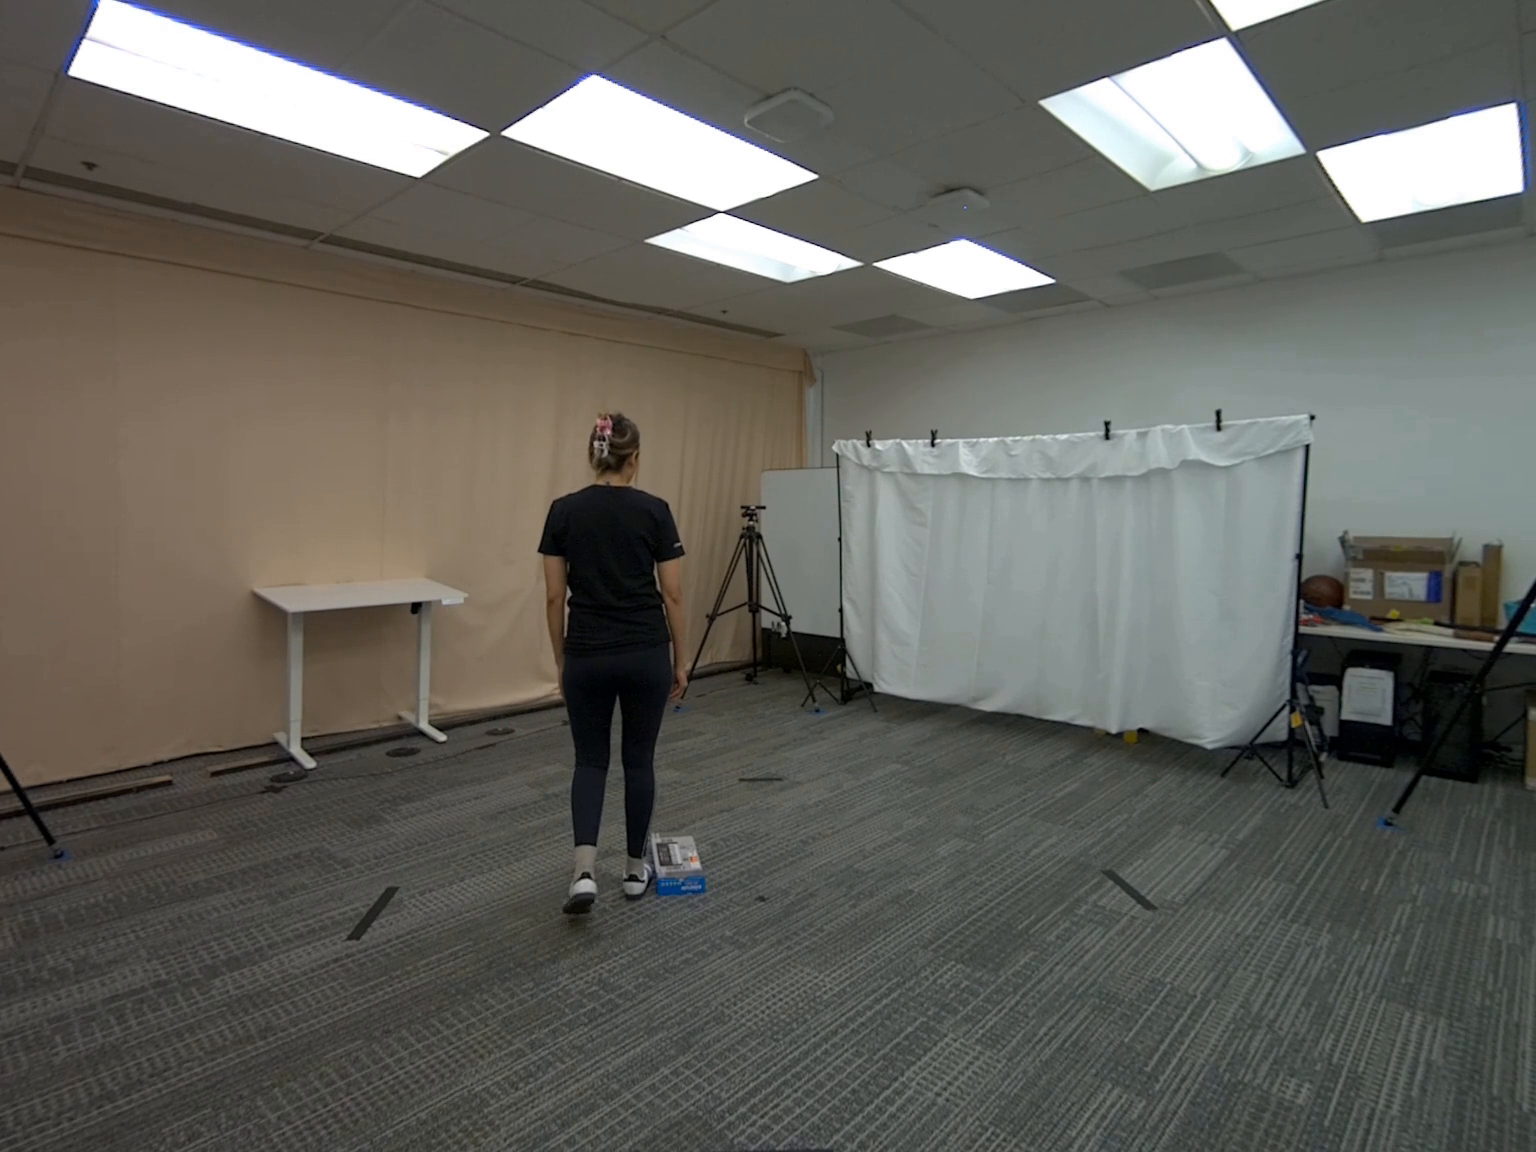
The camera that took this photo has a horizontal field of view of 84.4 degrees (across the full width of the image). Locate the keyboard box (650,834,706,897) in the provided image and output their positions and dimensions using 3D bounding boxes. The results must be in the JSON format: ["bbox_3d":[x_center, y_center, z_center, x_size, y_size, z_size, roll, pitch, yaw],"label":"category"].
[{"bbox_3d":[-0.349,1.096,3.237,0.174,0.059,0.442,0,5,-11],"label":"keyboard box"}]
